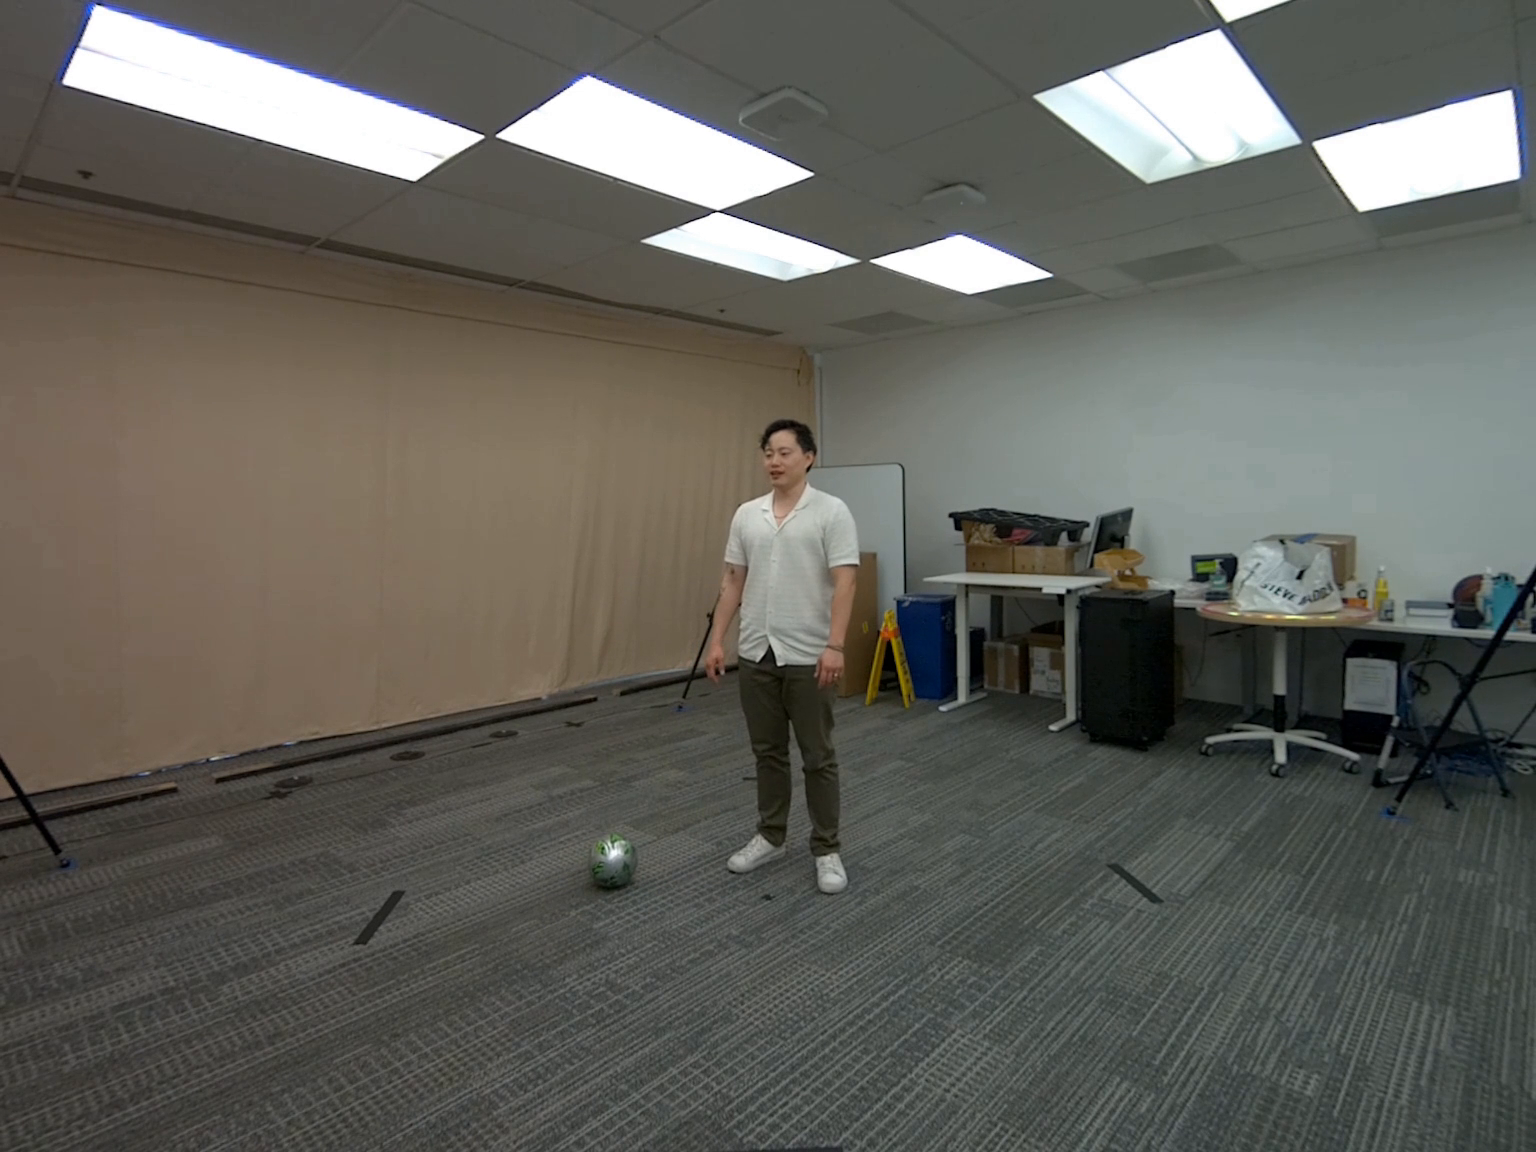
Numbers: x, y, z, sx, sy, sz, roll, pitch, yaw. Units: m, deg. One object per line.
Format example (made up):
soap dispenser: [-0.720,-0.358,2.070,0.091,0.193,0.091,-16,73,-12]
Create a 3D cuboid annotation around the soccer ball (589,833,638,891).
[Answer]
soccer ball: [-0.577,1.053,3.106,0.187,0.187,0.188,-1,4,-2]
